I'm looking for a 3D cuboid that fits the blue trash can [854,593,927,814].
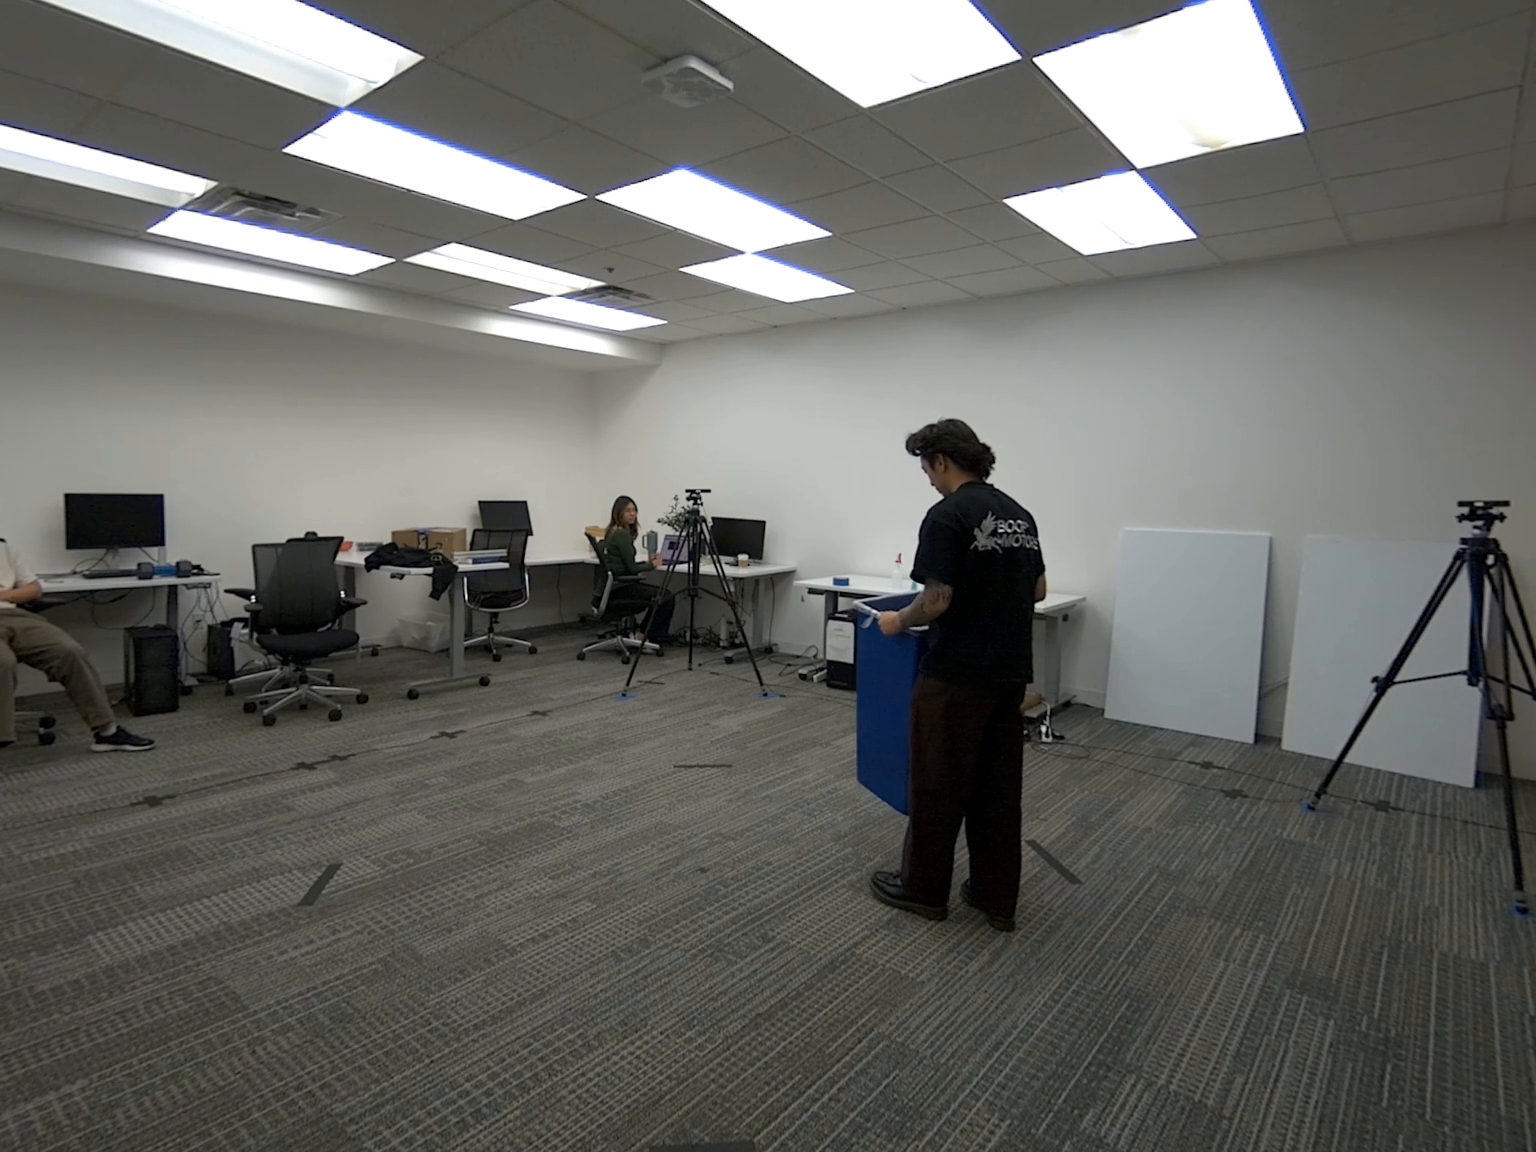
[{"bbox_3d":[0.538,0.453,3.133,0.365,0.705,0.391,-7,14,-29],"label":"blue trash can"}]
